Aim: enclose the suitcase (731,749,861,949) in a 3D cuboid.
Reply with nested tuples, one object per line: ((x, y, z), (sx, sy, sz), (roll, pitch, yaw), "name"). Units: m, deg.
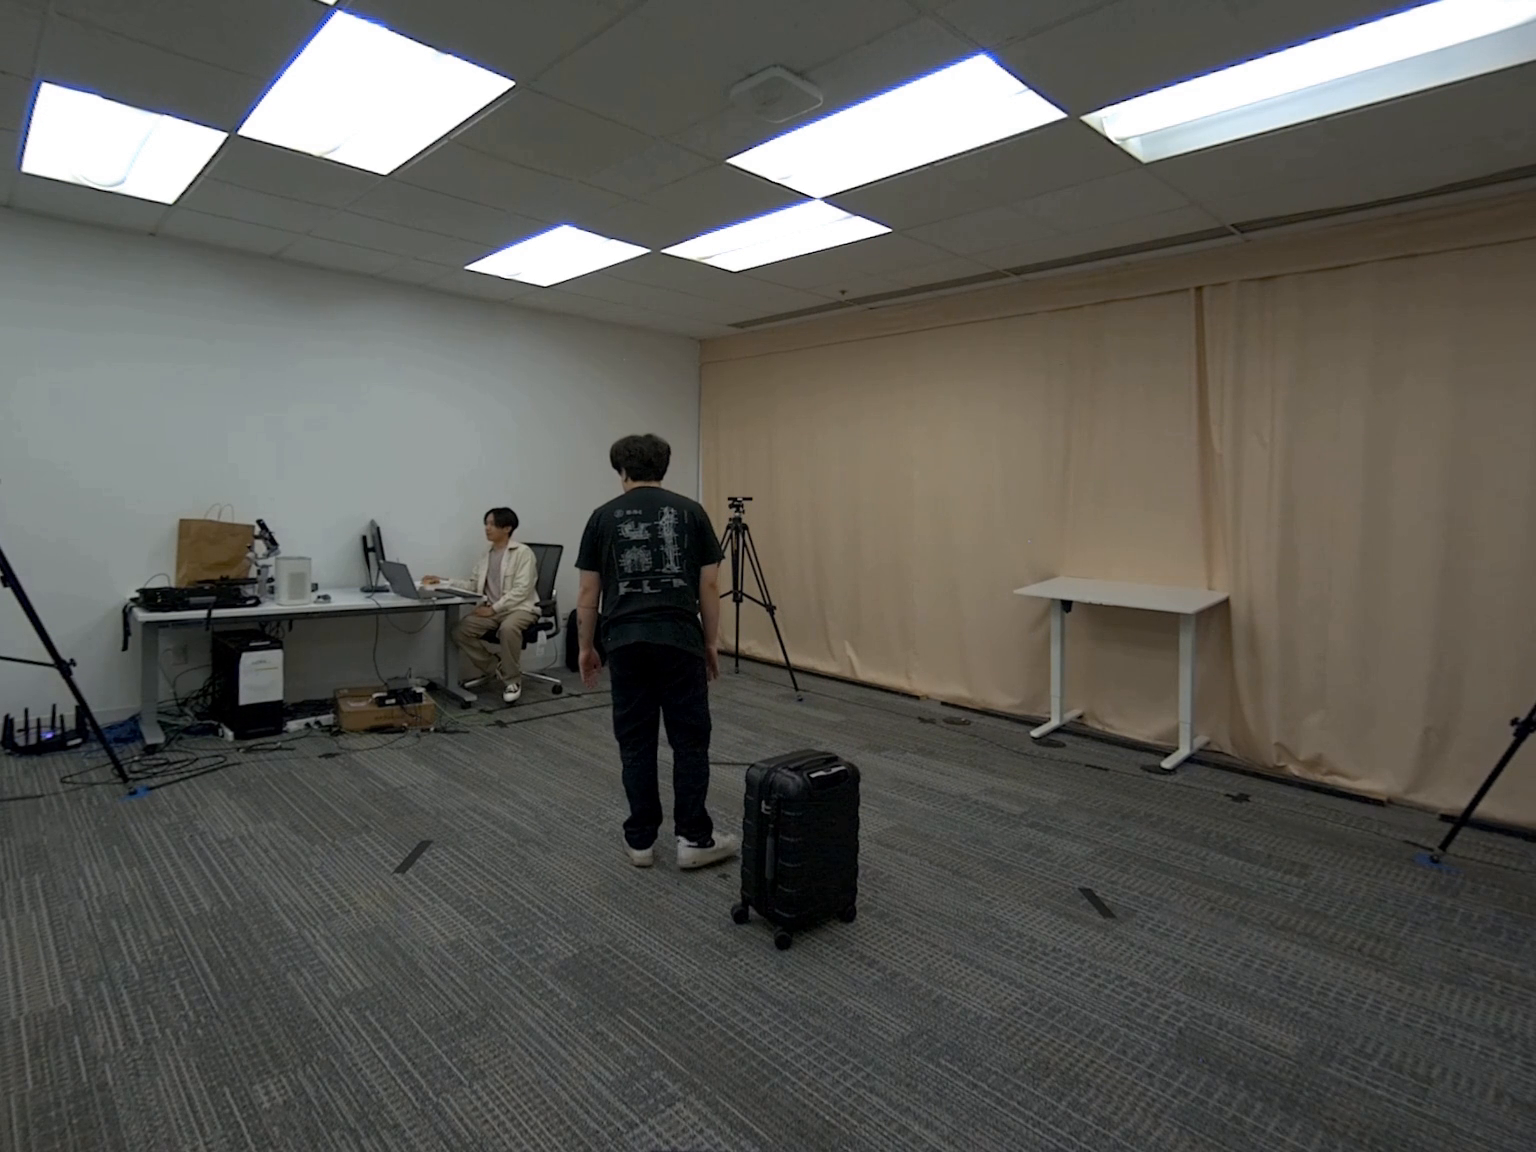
((0.102, 0.866, 2.771), (0.367, 0.548, 0.254), (-1, 4, -41), "suitcase")
